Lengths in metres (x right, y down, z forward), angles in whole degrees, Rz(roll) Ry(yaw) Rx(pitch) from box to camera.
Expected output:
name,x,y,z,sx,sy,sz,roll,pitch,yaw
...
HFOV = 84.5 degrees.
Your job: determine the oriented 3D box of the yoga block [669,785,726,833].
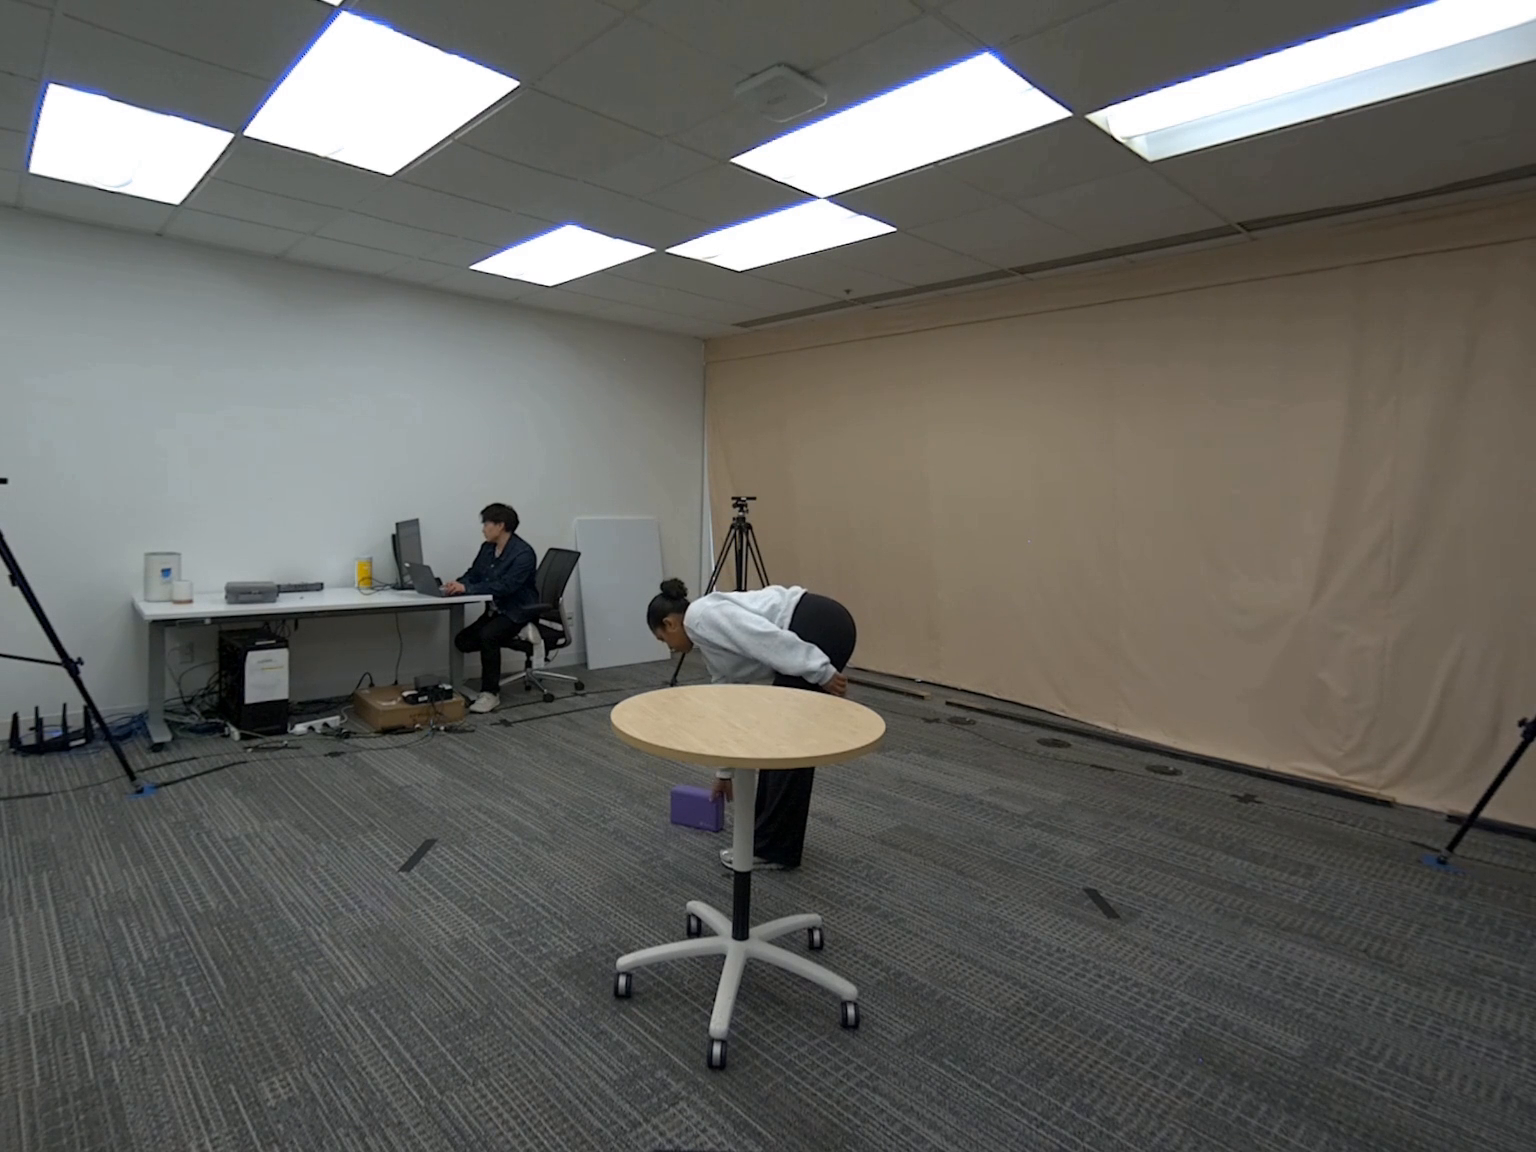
name,x,y,z,sx,sy,sz,roll,pitch,yaw
yoga block,-0.309,0.975,3.577,0.233,0.148,0.075,3,5,24
